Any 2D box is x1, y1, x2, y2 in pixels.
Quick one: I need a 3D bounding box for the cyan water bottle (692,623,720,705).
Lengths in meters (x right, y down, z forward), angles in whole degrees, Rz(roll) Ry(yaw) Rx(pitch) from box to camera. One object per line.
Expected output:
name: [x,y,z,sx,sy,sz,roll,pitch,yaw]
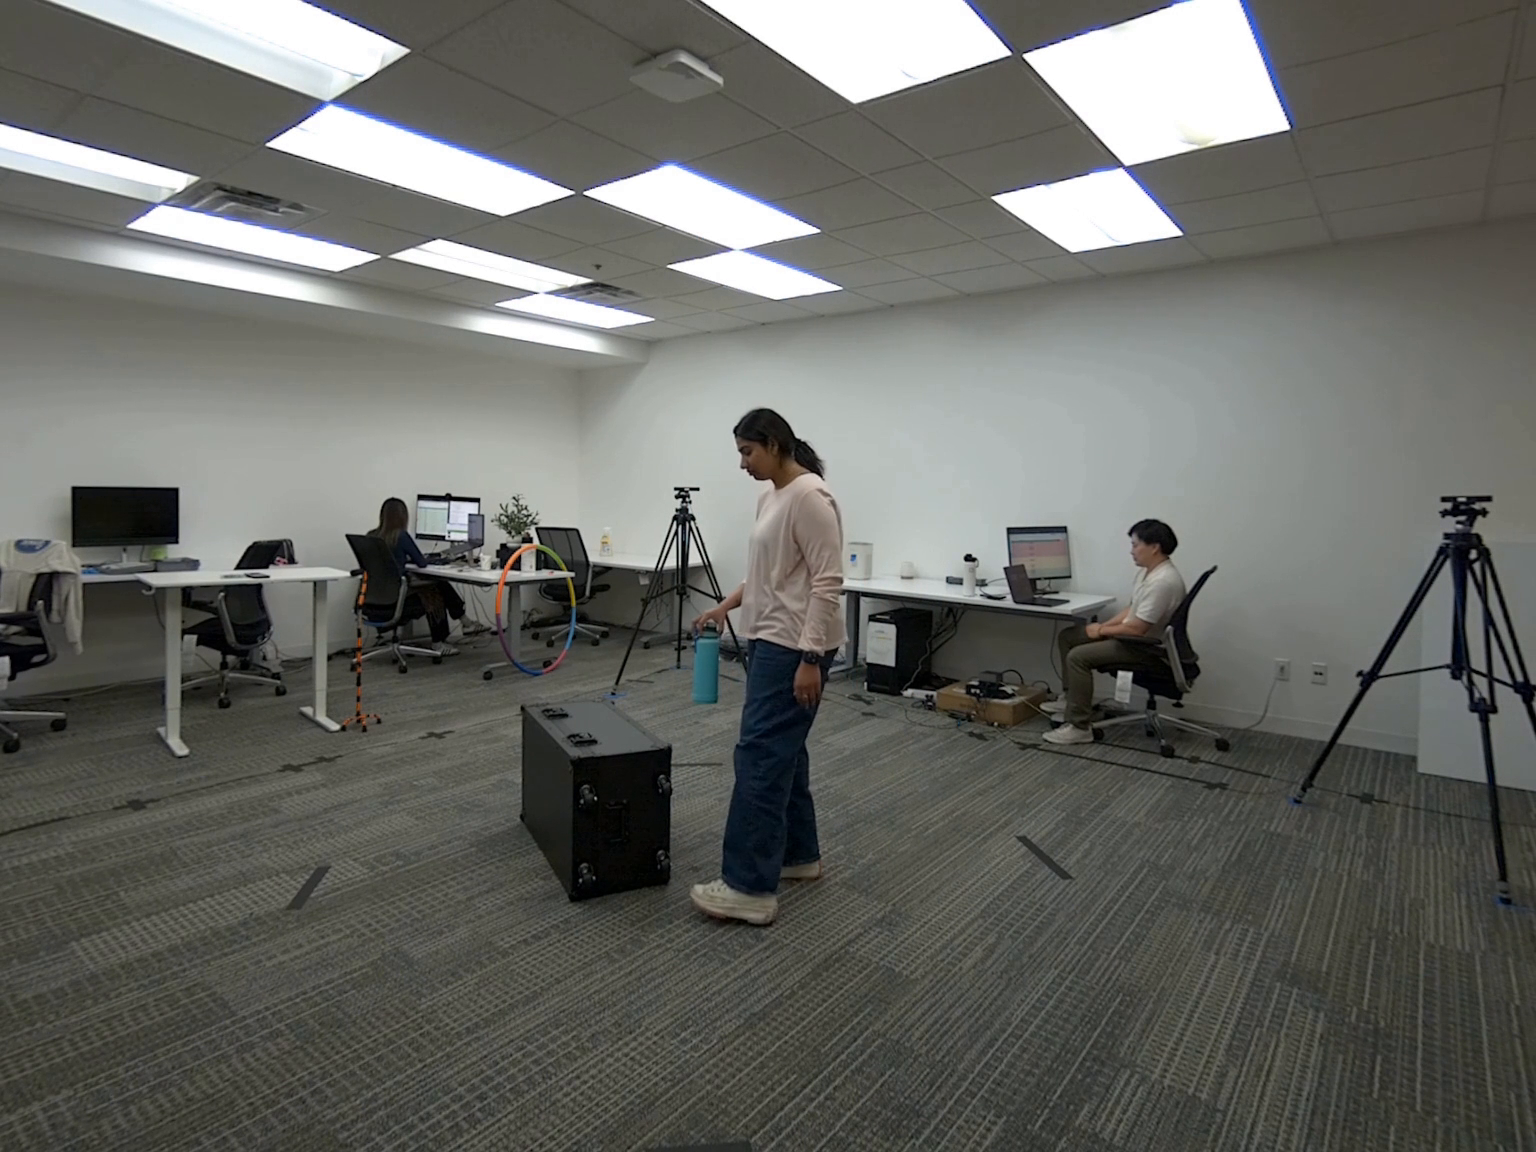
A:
cyan water bottle: [-0.227,0.302,3.038,0.092,0.283,0.092,0,0,-2]
